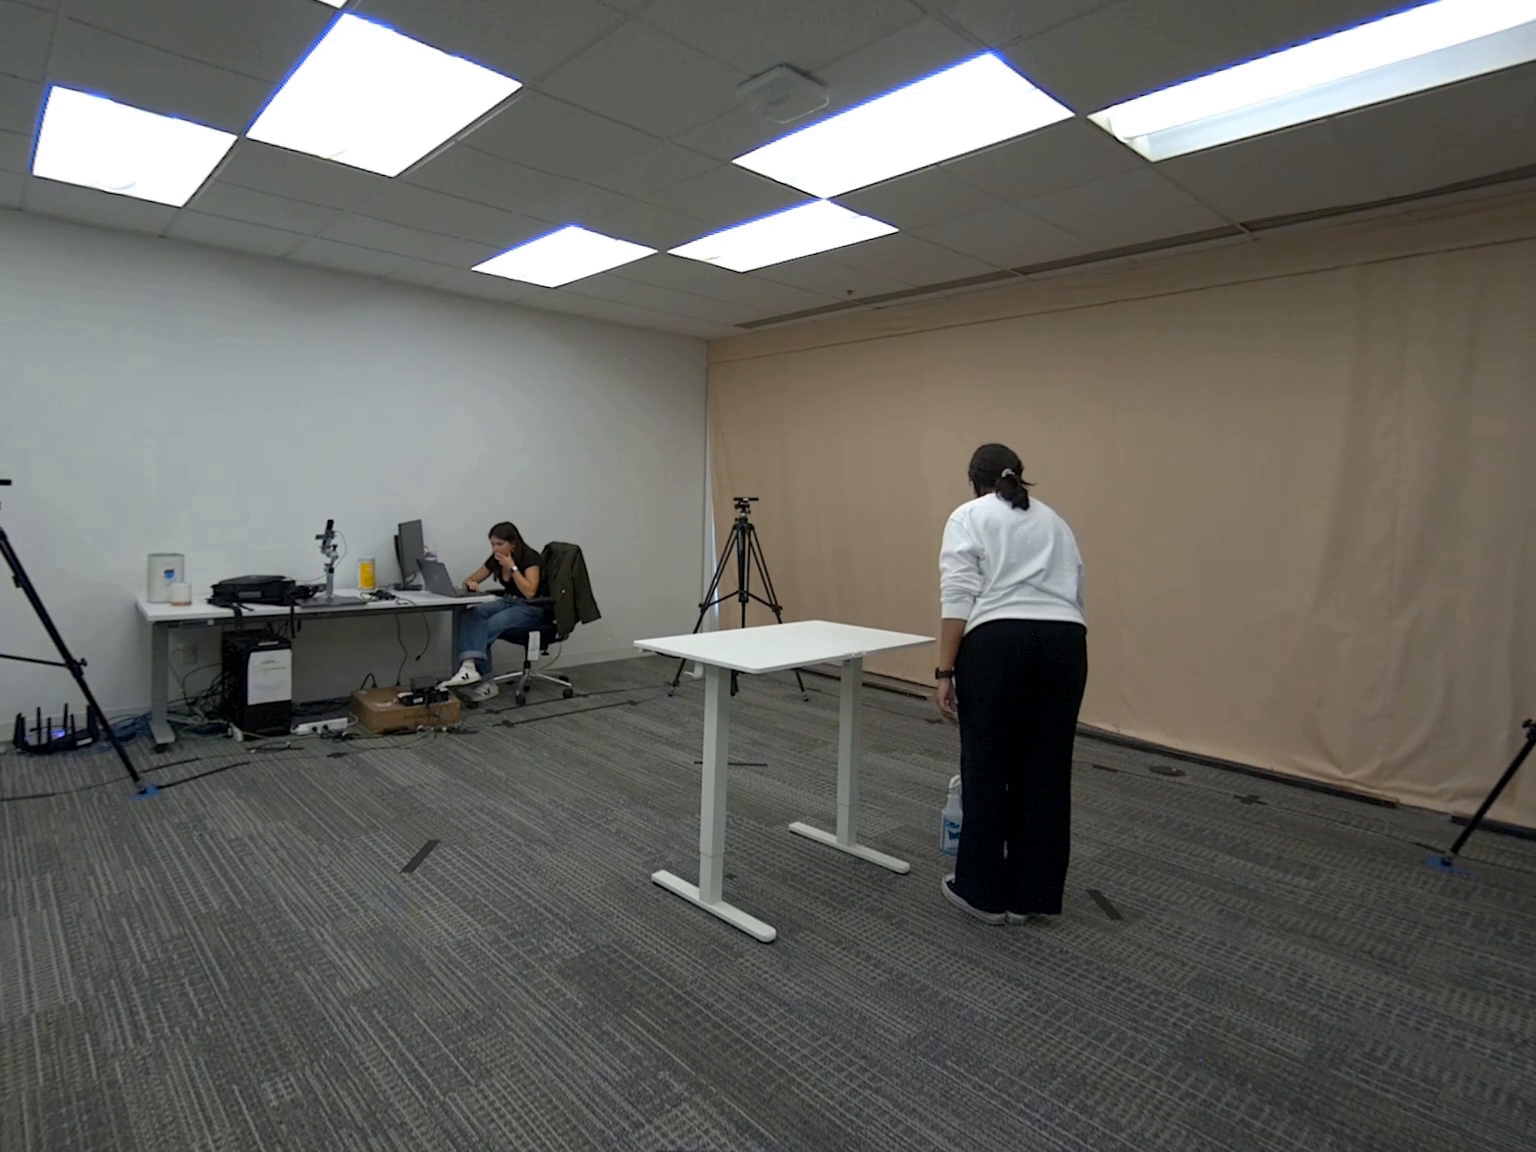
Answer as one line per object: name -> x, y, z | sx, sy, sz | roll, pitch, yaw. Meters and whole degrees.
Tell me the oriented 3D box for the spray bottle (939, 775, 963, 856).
spray bottle -> 0.729, 0.958, 3.379 | 0.088, 0.297, 0.089 | 2, 2, -33
